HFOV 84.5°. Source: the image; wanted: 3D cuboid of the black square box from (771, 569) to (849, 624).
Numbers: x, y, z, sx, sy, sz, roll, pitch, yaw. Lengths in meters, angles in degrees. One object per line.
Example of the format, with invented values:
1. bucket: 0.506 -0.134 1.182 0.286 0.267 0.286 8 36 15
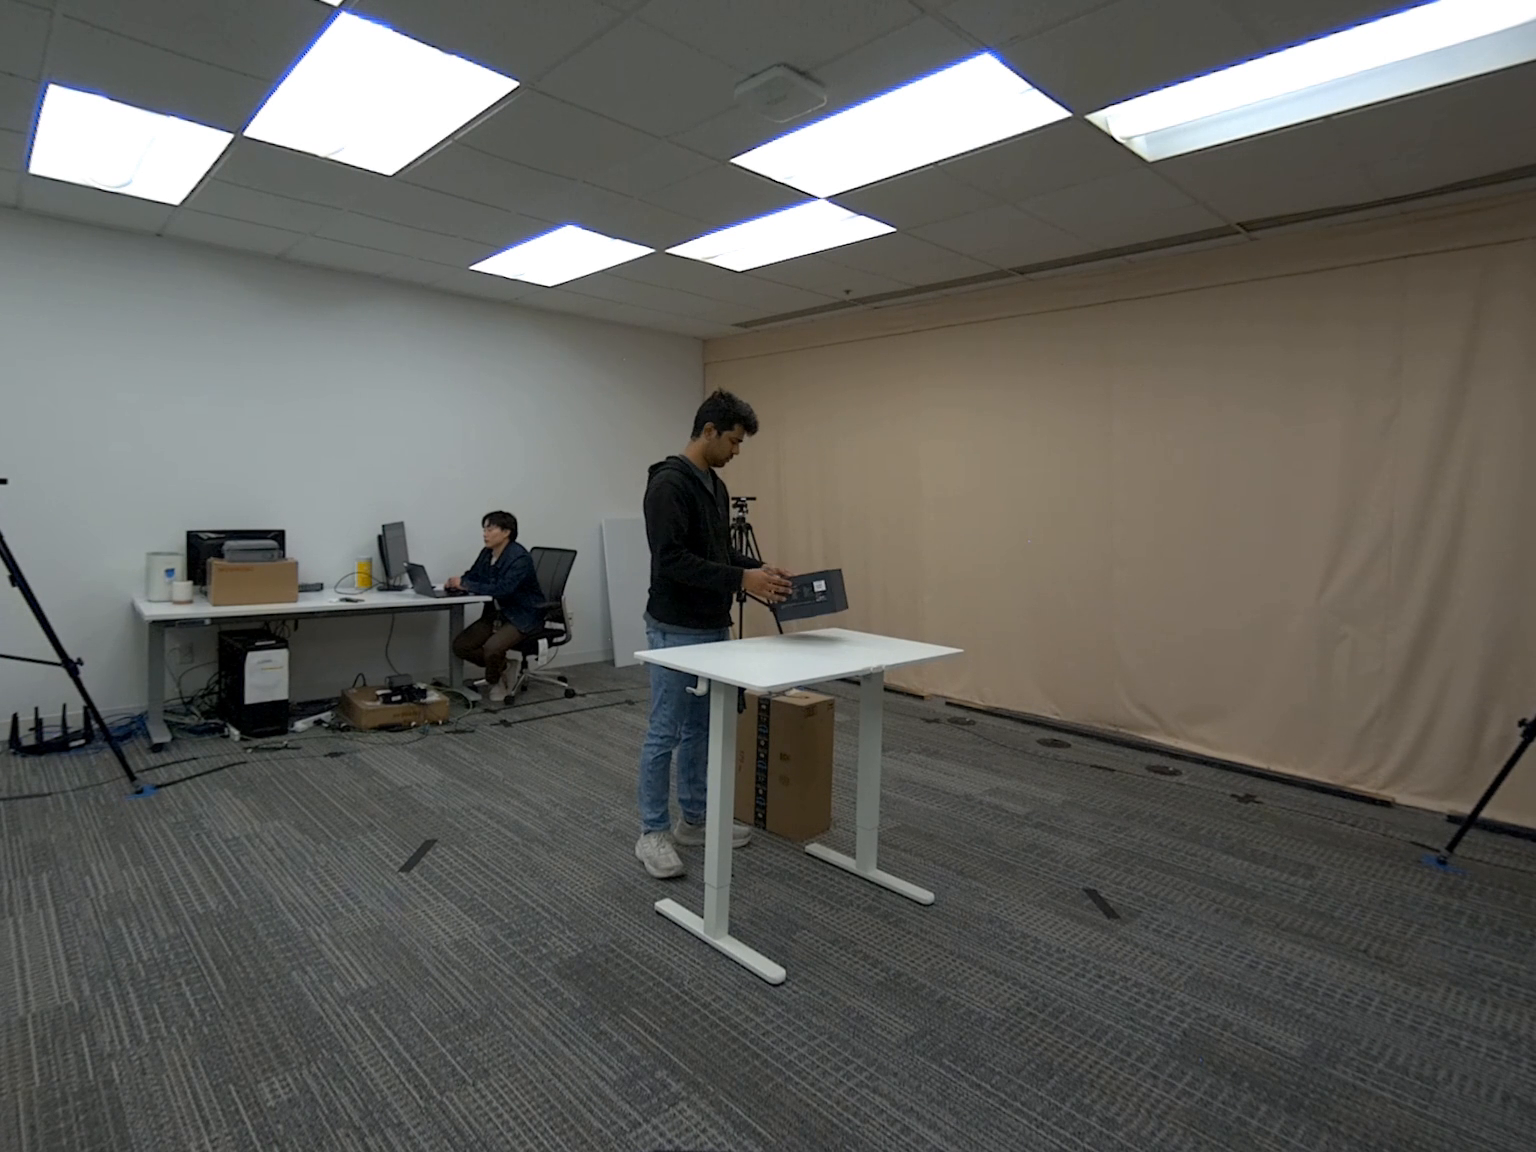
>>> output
1. black square box: 0.142 0.071 3.115 0.220 0.156 0.225 -8 -1 18
